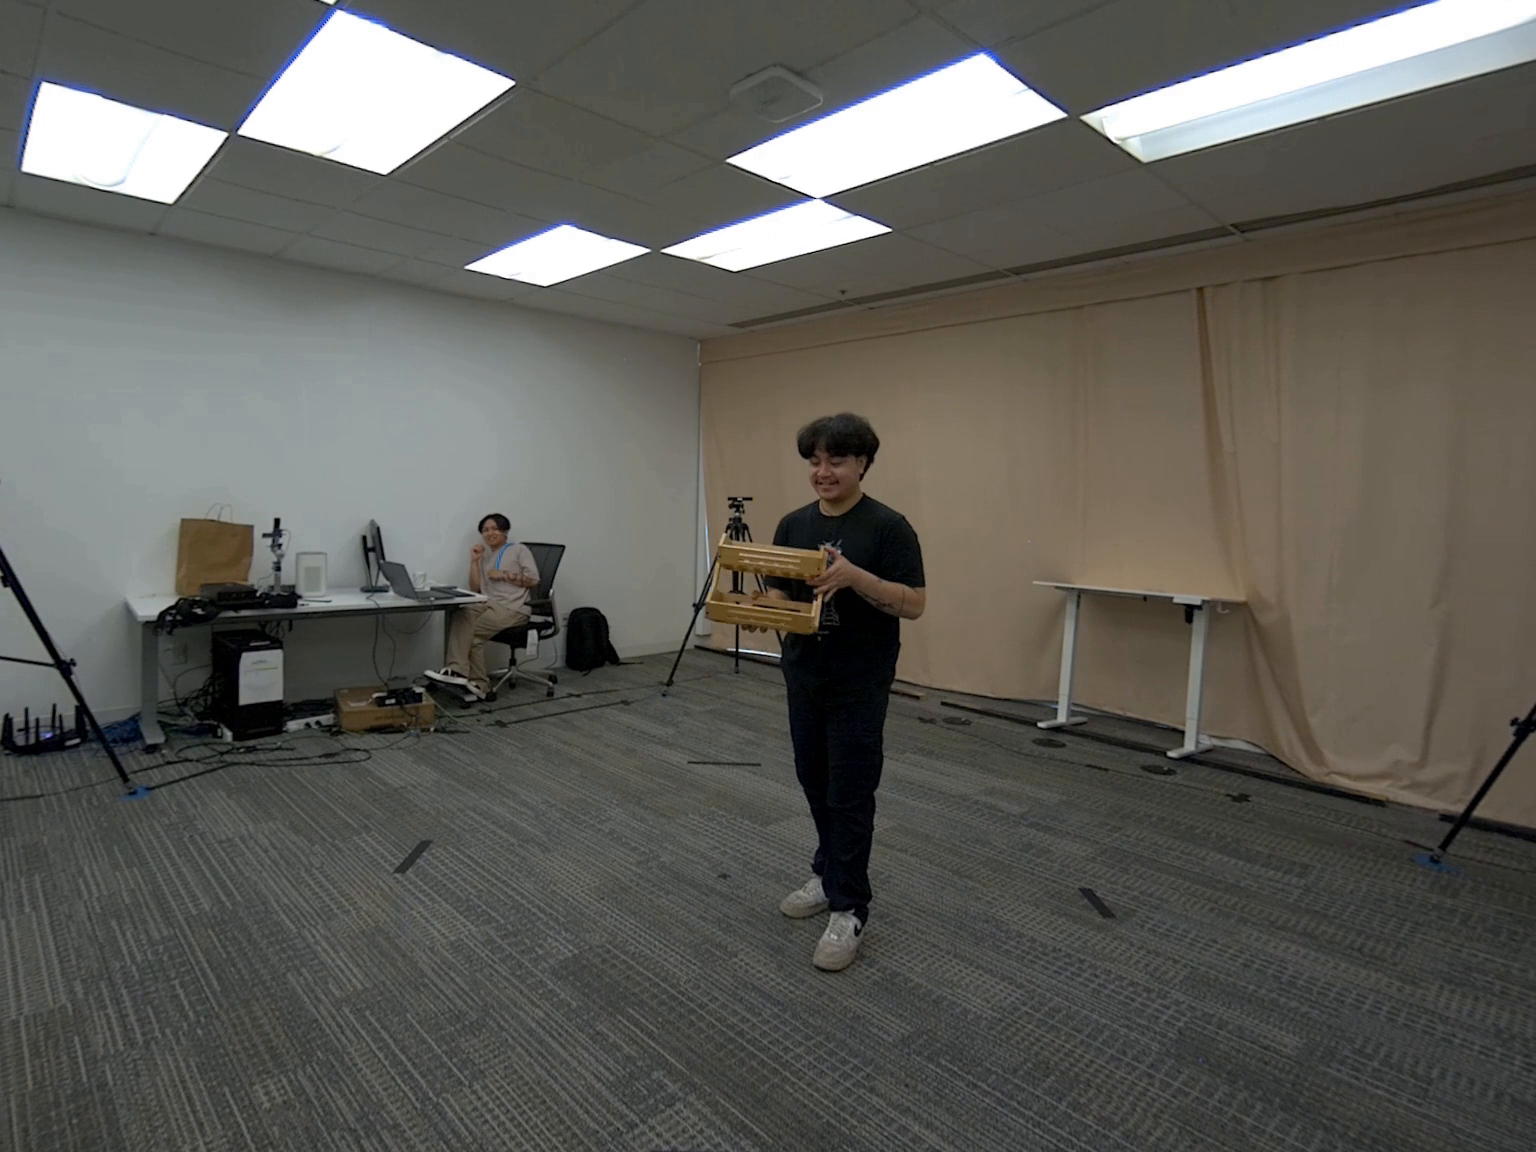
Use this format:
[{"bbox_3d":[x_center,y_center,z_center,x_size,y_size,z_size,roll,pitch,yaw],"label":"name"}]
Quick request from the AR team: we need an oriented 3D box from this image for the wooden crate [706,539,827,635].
[{"bbox_3d":[-0.010,0.015,2.462,0.327,0.274,0.298,7,-6,8],"label":"wooden crate"}]
